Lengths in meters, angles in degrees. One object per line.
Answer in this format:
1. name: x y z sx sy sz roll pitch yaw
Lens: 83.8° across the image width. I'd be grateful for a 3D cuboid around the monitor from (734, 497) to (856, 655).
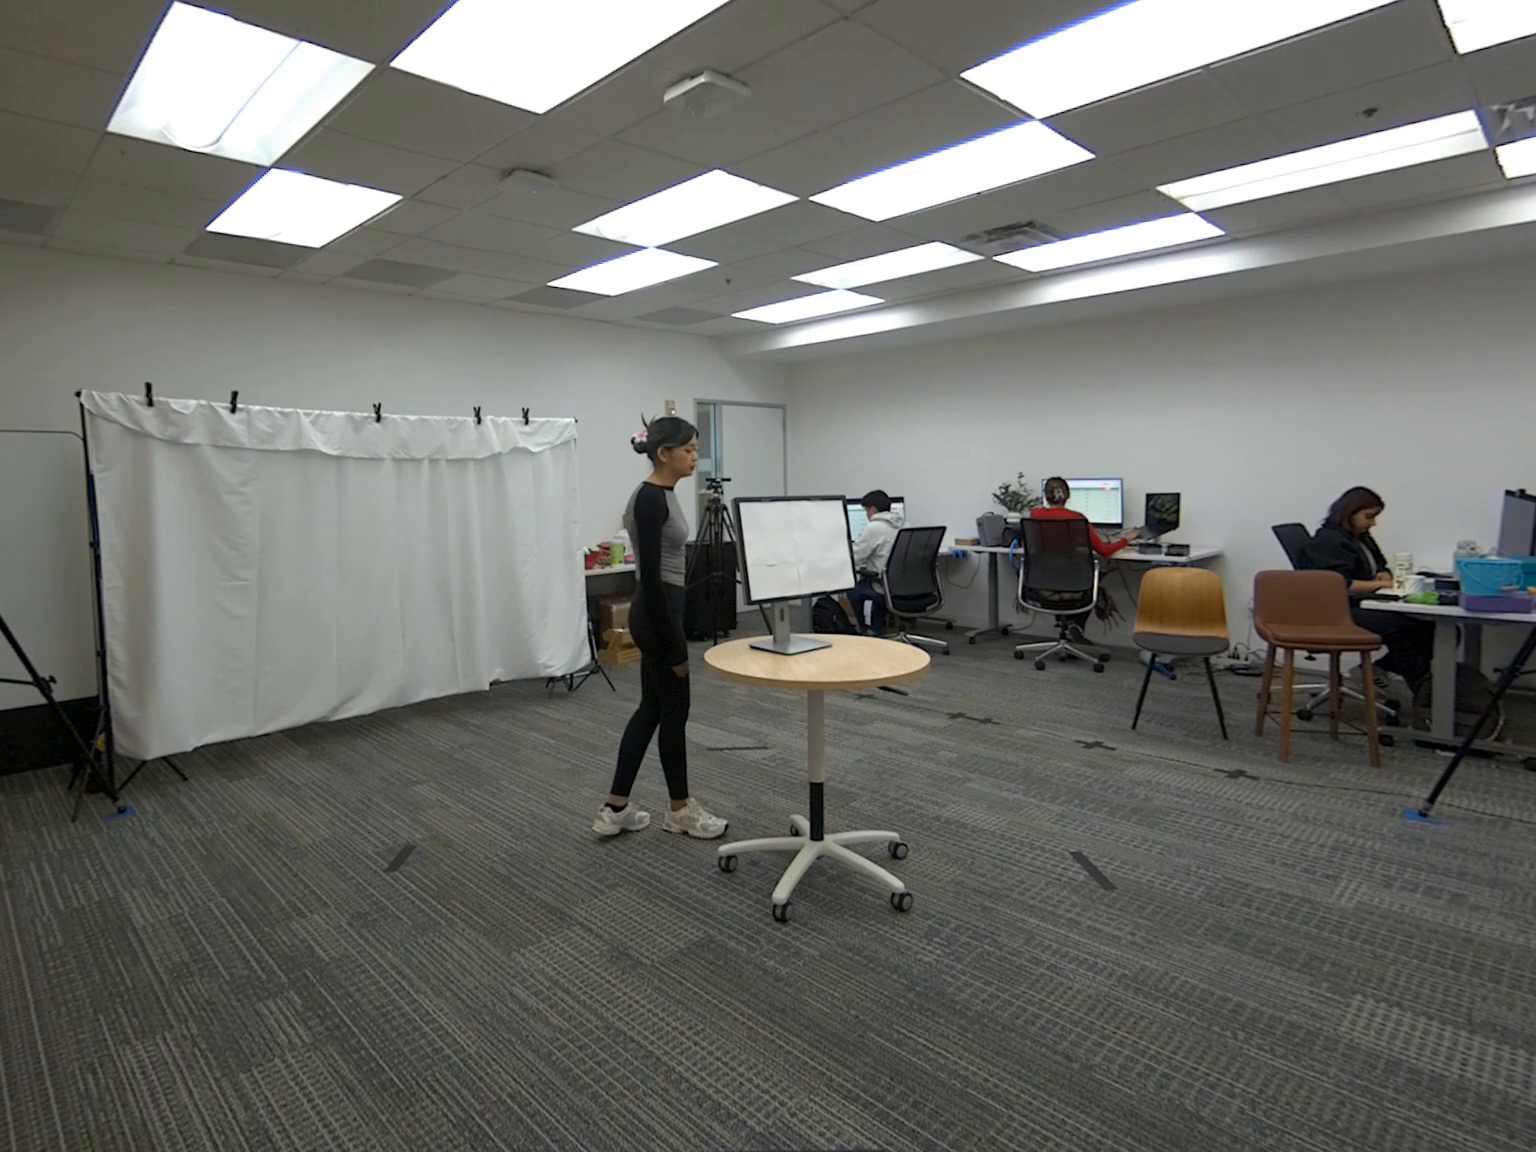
1. monitor: 0.081 -0.010 3.048 0.525 0.520 0.193 -5 8 -45
